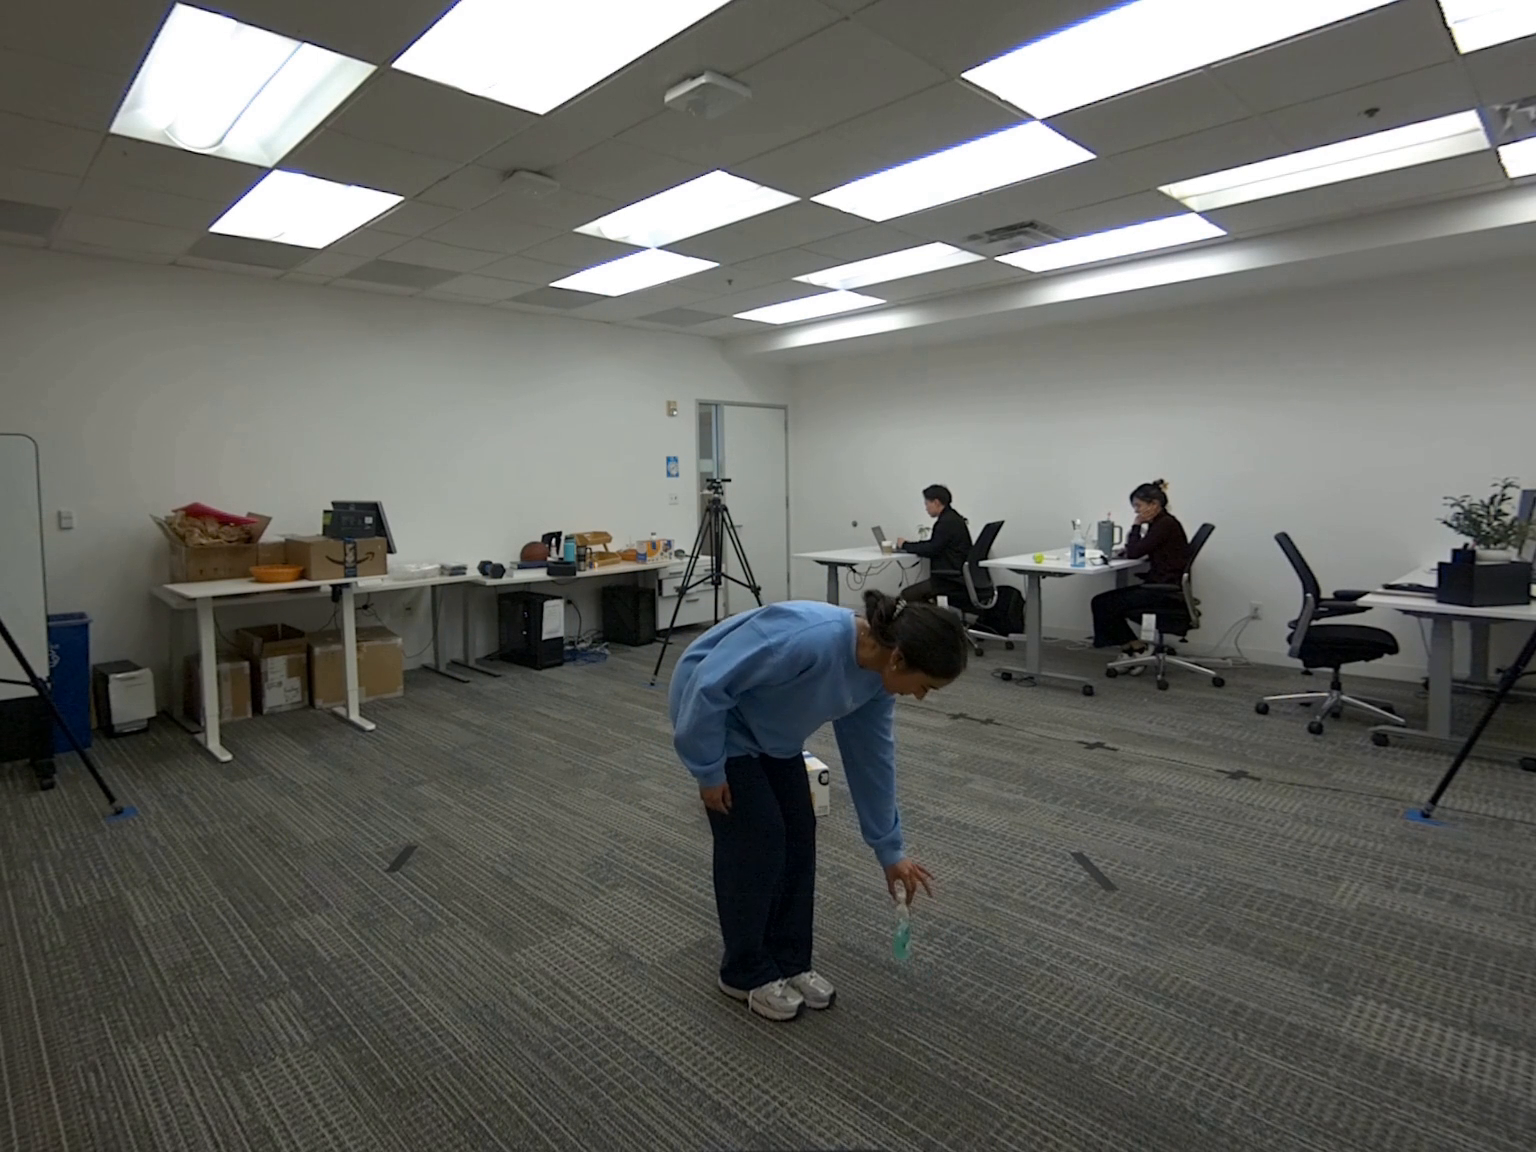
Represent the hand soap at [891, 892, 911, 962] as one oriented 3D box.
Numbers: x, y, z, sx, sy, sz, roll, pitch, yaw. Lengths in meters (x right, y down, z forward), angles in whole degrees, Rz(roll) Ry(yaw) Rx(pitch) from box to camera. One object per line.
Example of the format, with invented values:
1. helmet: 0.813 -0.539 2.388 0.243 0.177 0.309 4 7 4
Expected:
1. hand soap: 0.363 0.937 2.280 0.044 0.167 0.083 4 8 32
